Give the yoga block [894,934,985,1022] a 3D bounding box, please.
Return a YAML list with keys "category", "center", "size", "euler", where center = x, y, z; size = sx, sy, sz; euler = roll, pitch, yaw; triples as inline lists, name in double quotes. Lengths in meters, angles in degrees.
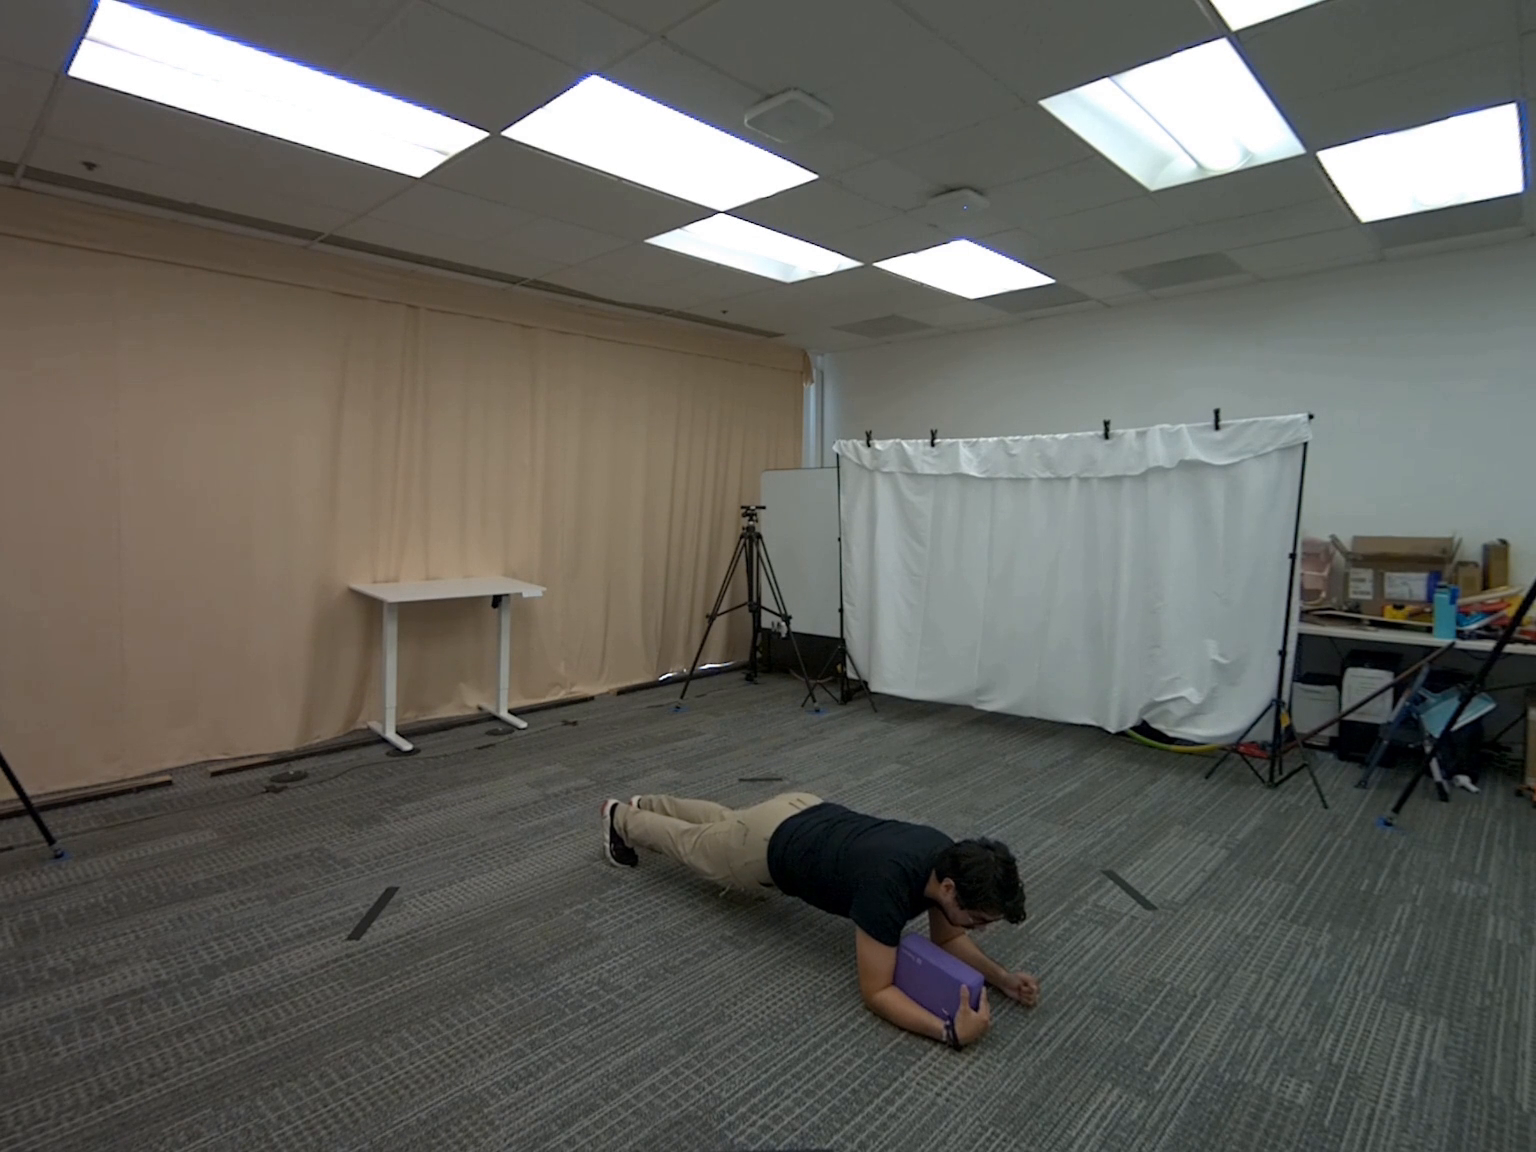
- category: "yoga block"
  center: [0.450, 1.092, 2.277]
  size: [0.074, 0.148, 0.237]
  euler: [-3, 12, -45]
